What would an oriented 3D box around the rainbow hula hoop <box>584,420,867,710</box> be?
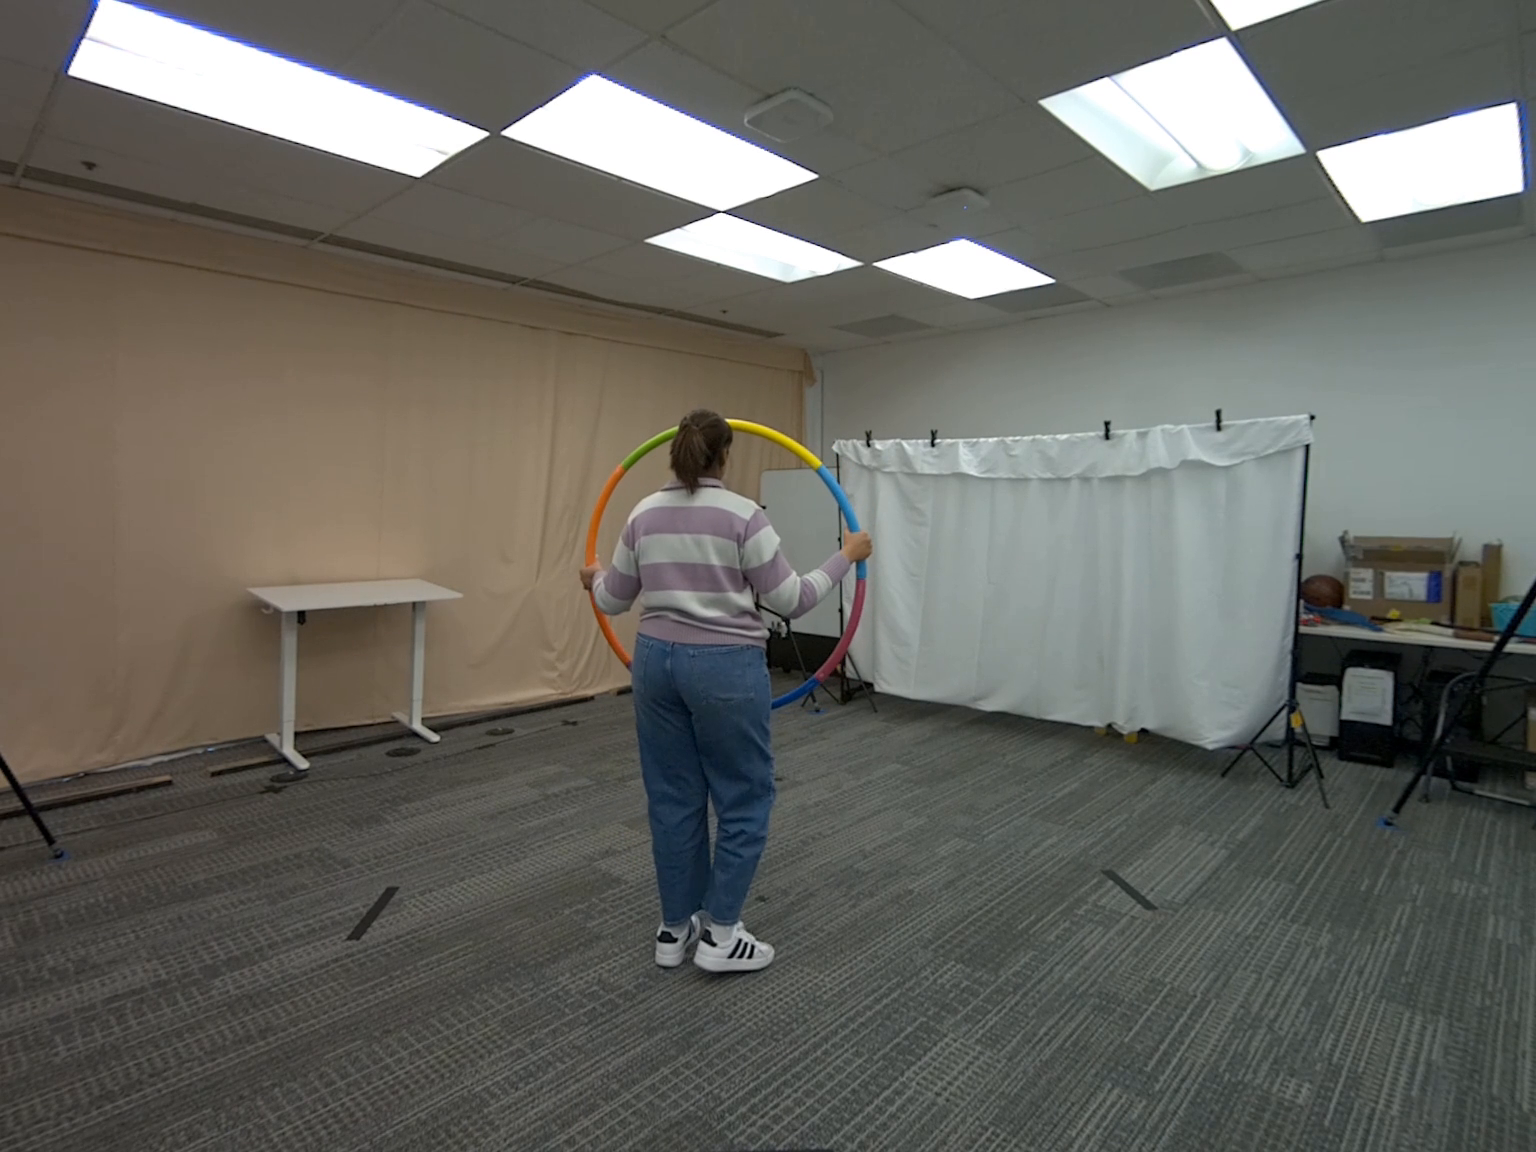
[{"bbox_3d":[-0.153,-0.019,2.778,0.998,0.975,0.035,1,6,19],"label":"rainbow hula hoop"}]
